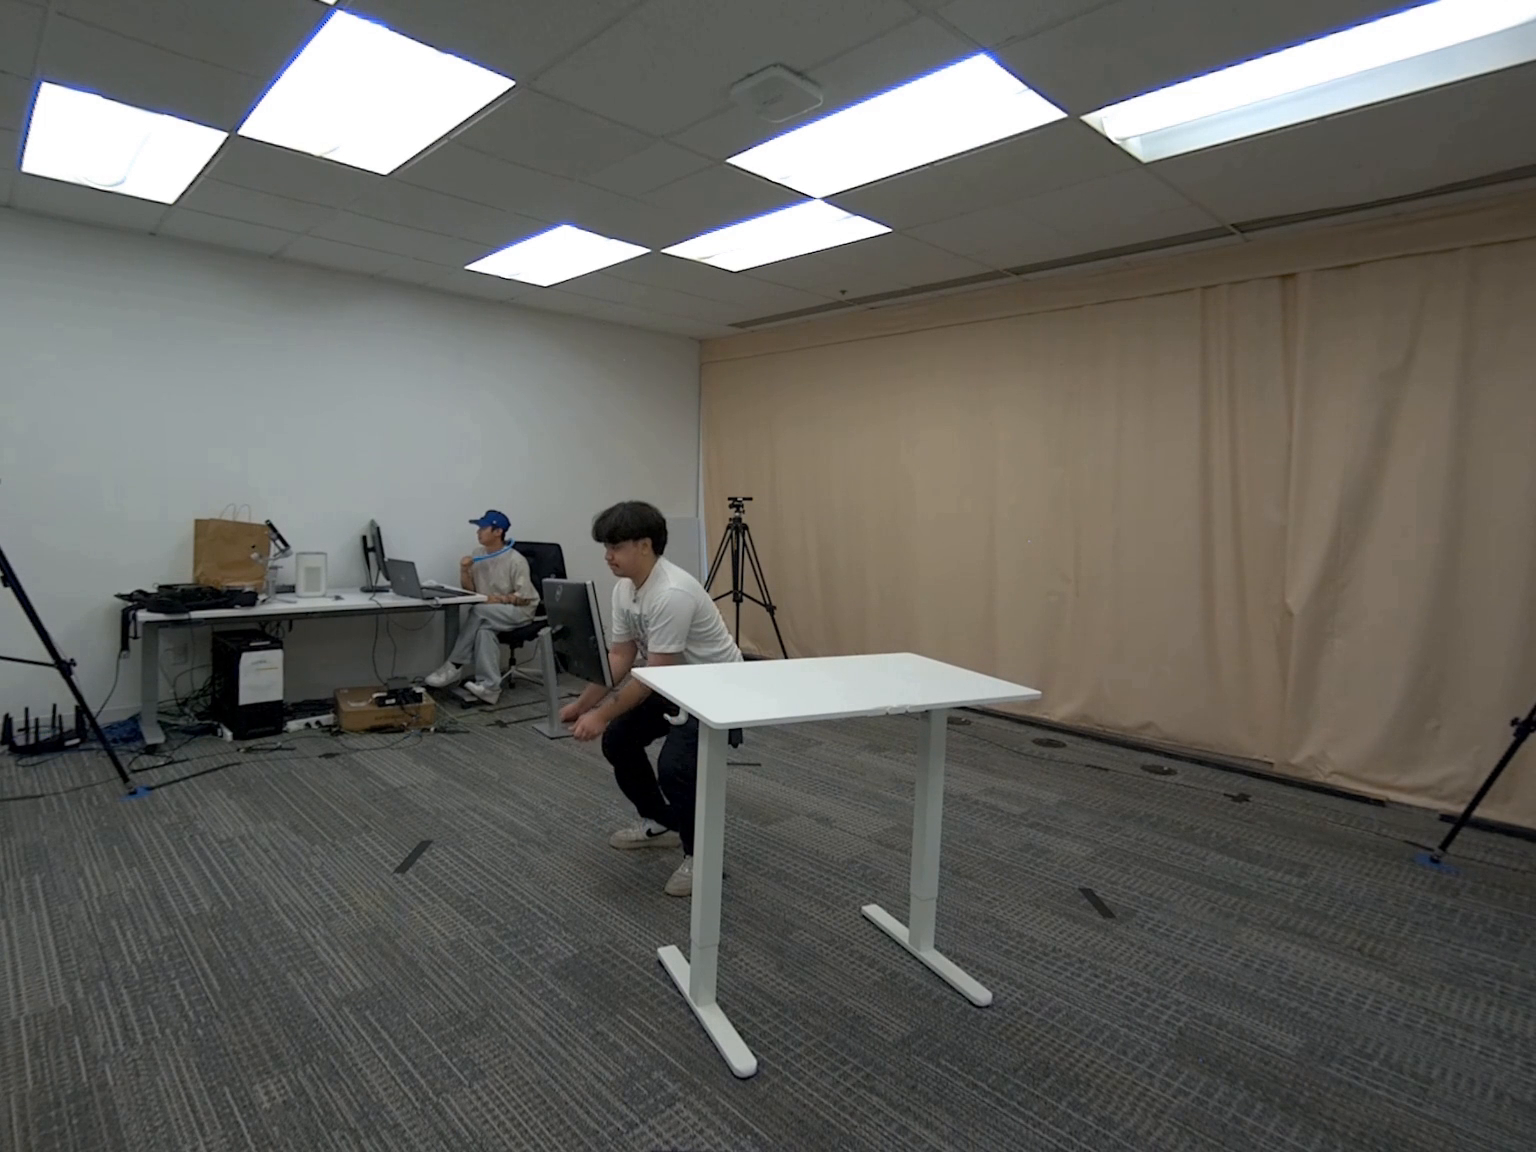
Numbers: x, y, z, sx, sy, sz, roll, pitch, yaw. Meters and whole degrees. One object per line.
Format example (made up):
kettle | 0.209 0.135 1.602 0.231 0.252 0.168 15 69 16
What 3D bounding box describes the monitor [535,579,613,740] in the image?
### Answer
monitor | -0.748 0.291 3.007 0.206 0.553 0.577 -6 3 -30
